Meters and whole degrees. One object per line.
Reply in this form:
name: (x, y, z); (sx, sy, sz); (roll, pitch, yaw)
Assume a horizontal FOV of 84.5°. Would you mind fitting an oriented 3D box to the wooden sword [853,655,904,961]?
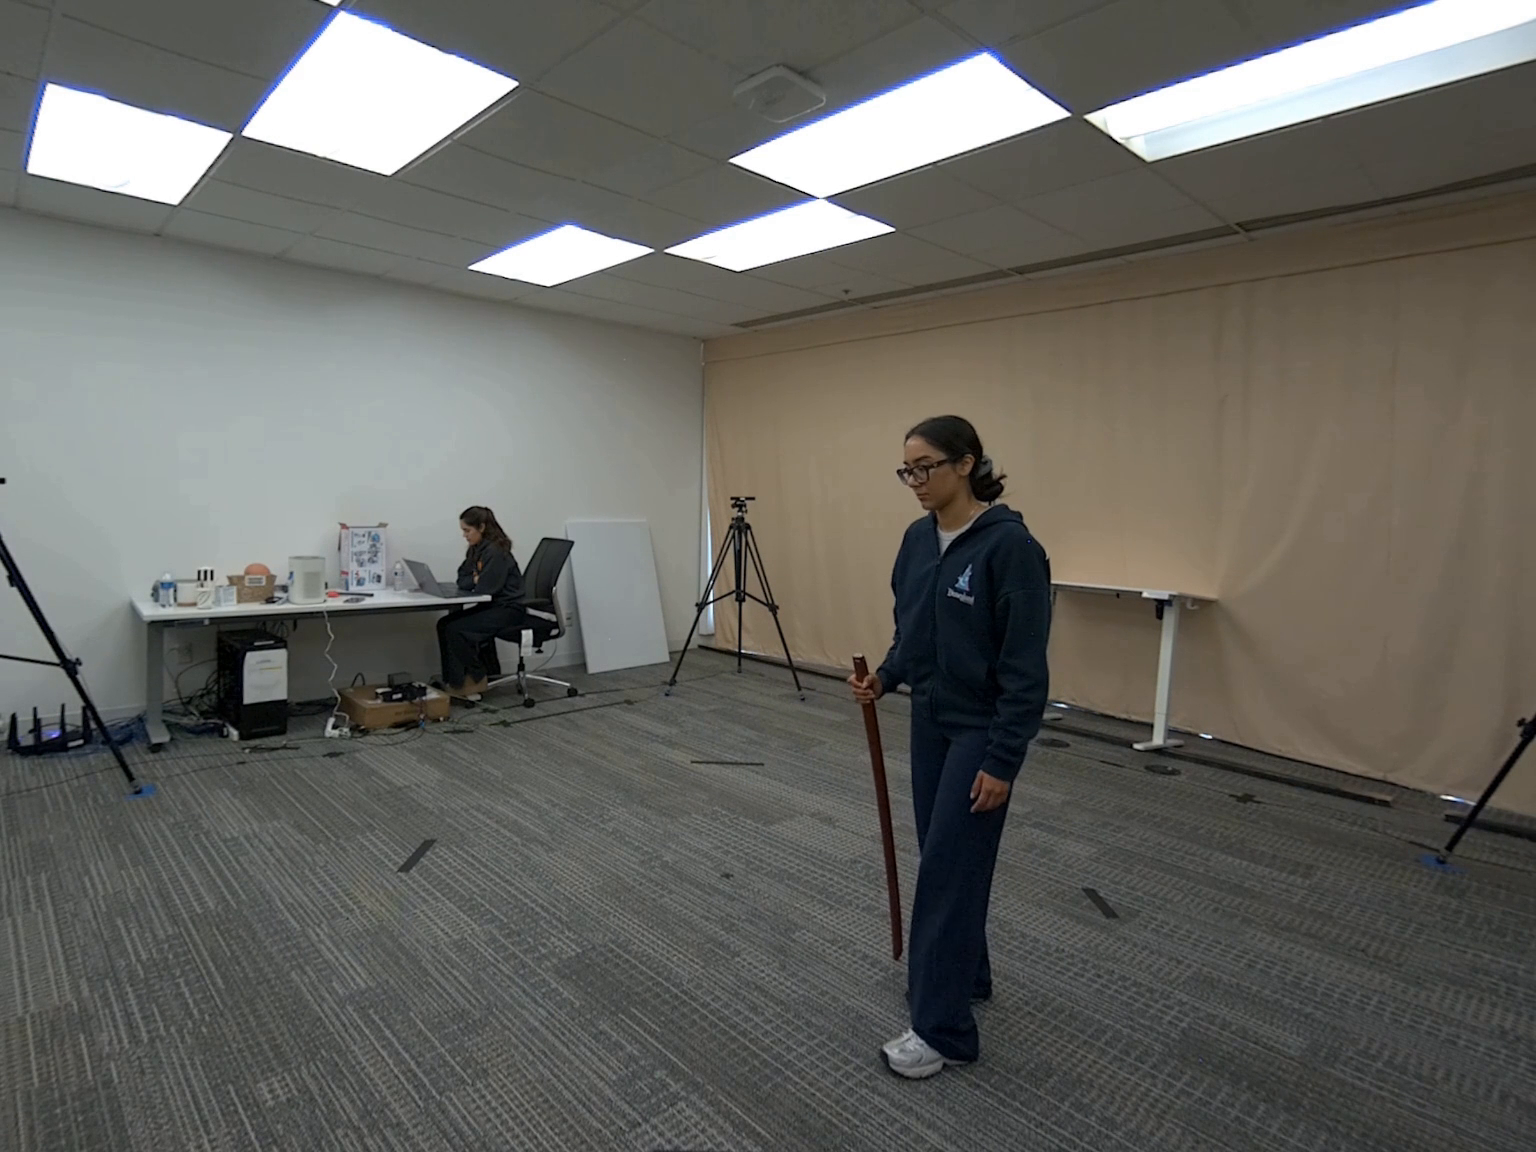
wooden sword: (0.320, 0.705, 2.421); (0.024, 1.010, 0.053); (-20, 19, -31)
